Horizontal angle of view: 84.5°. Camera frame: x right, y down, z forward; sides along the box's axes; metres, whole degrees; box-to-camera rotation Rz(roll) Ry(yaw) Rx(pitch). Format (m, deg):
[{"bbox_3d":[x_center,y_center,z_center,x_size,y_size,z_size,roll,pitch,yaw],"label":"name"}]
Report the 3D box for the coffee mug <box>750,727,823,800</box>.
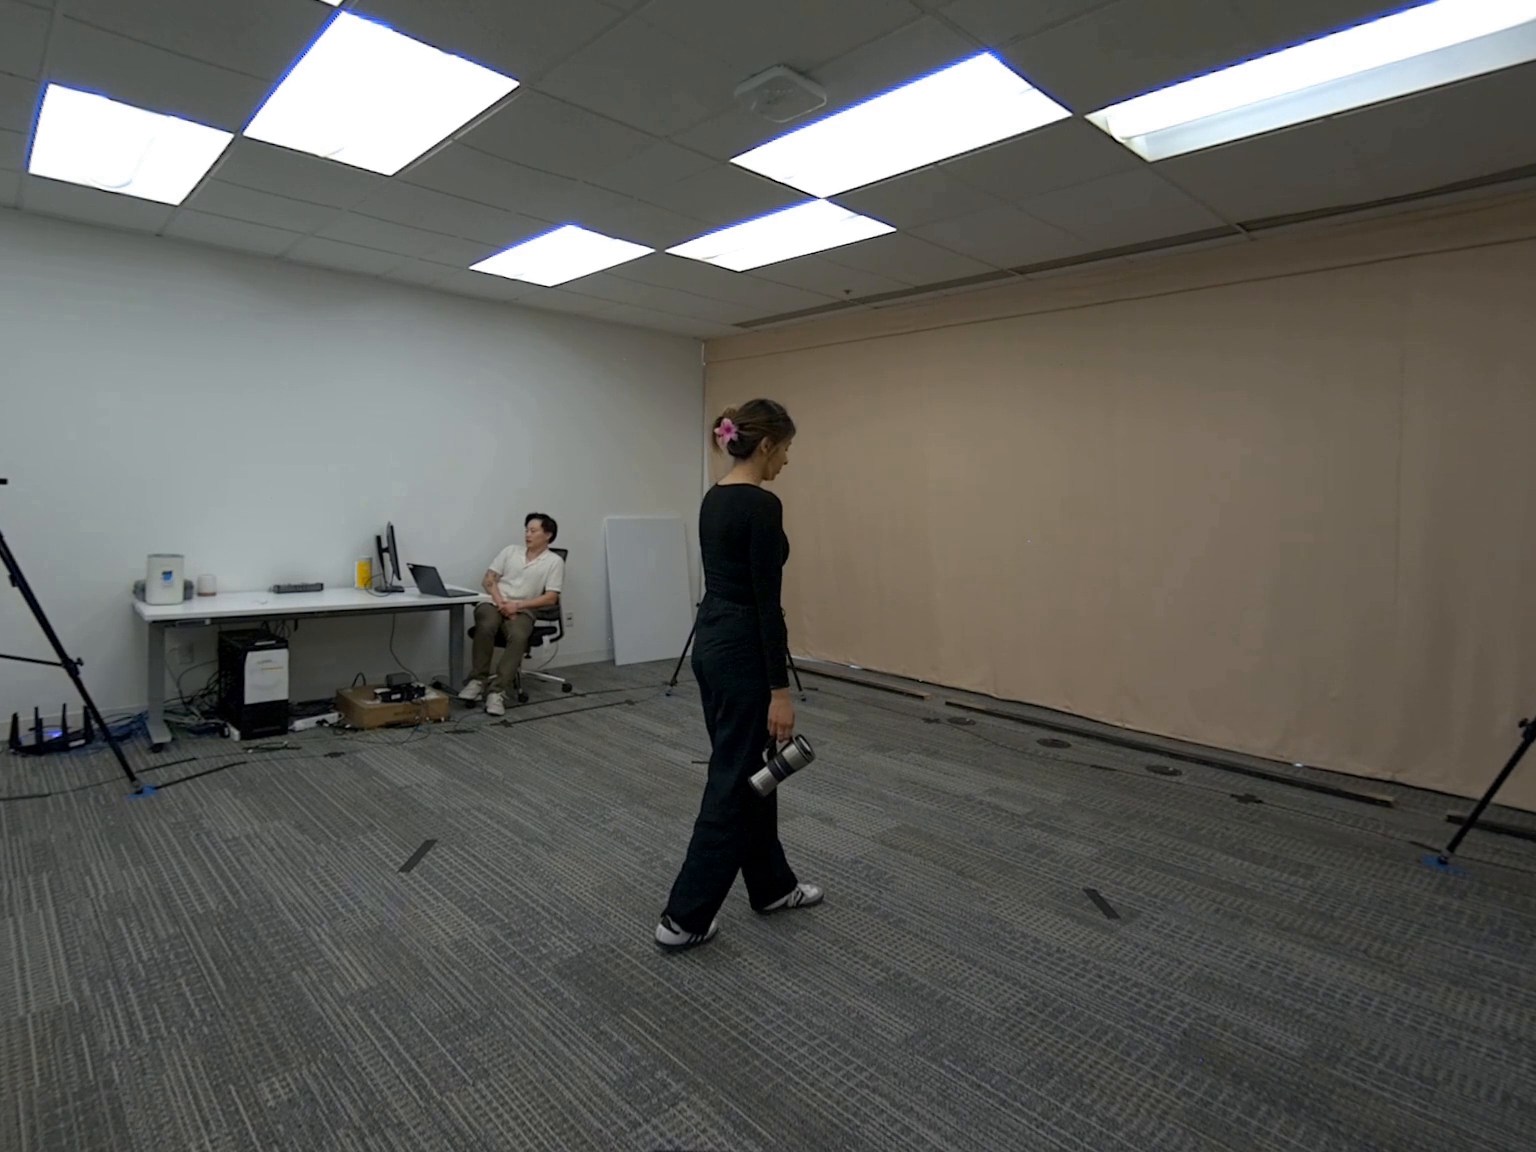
[{"bbox_3d":[0.030,0.554,2.473,0.203,0.118,0.090,-35,33,7],"label":"coffee mug"}]
